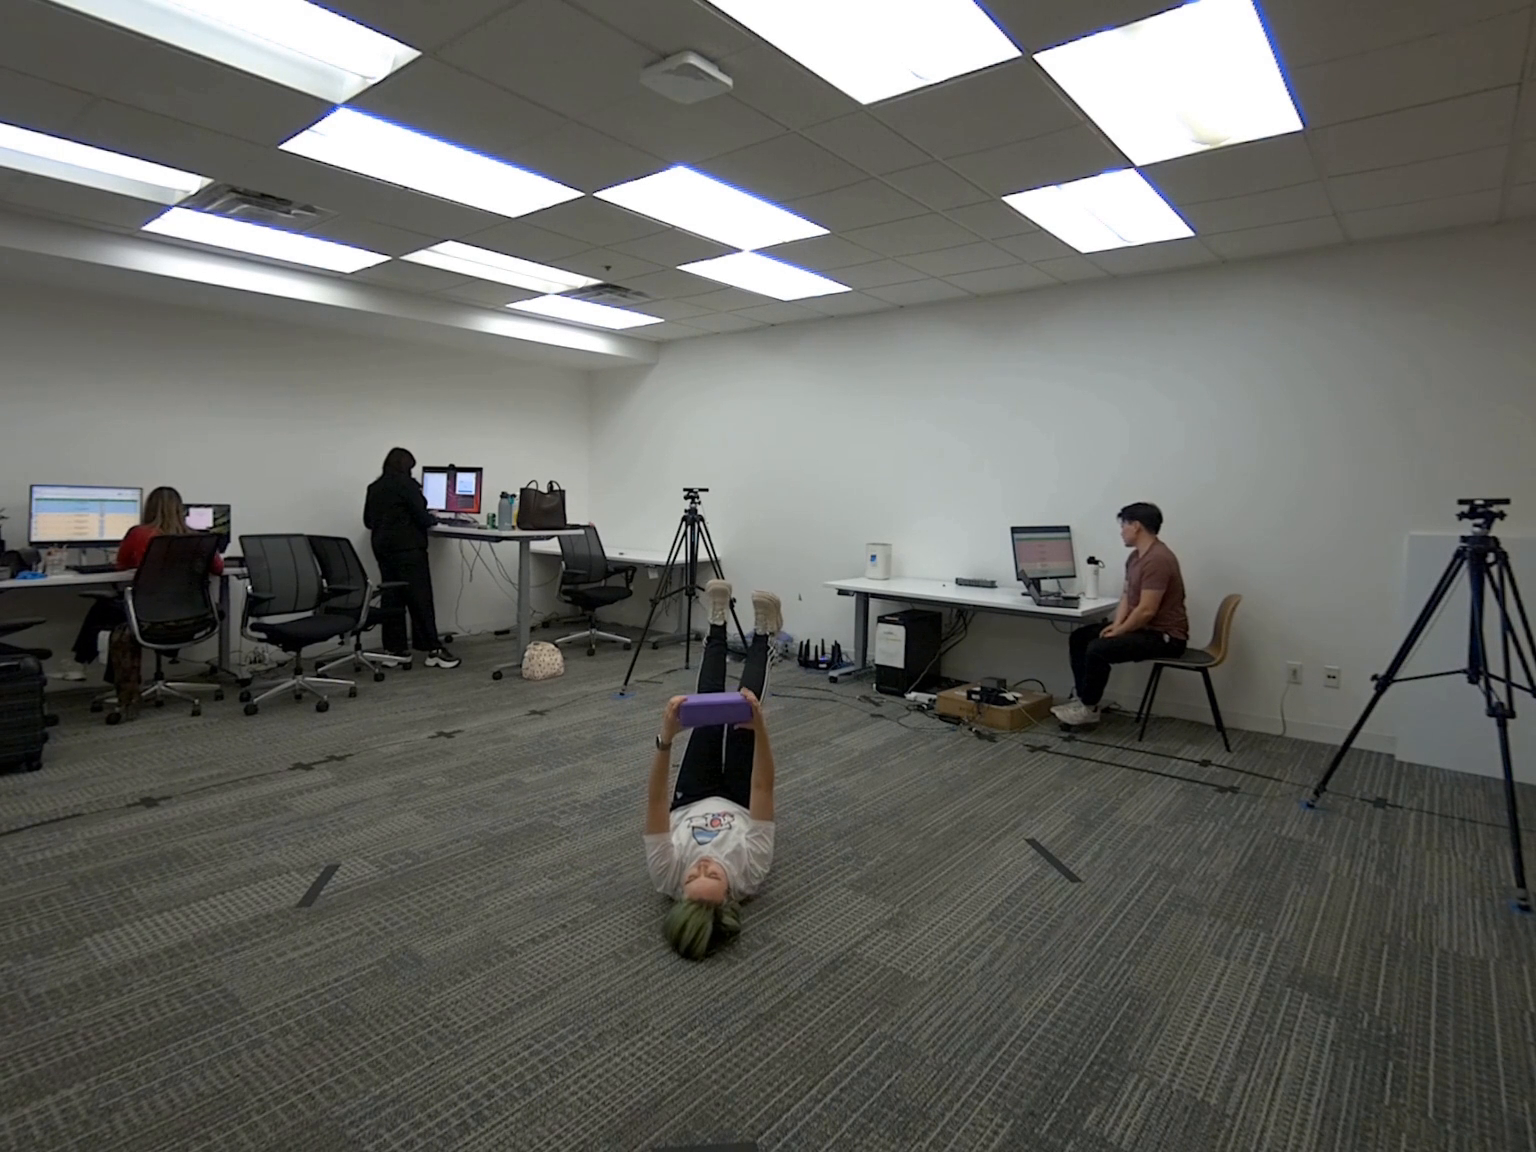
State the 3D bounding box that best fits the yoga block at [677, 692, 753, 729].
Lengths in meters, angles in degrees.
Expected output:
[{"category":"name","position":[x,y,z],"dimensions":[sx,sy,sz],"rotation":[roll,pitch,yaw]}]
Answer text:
[{"category":"yoga block","position":[-0.190,0.428,2.753],"dimensions":[0.227,0.076,0.151],"rotation":[-2,3,-10]}]
